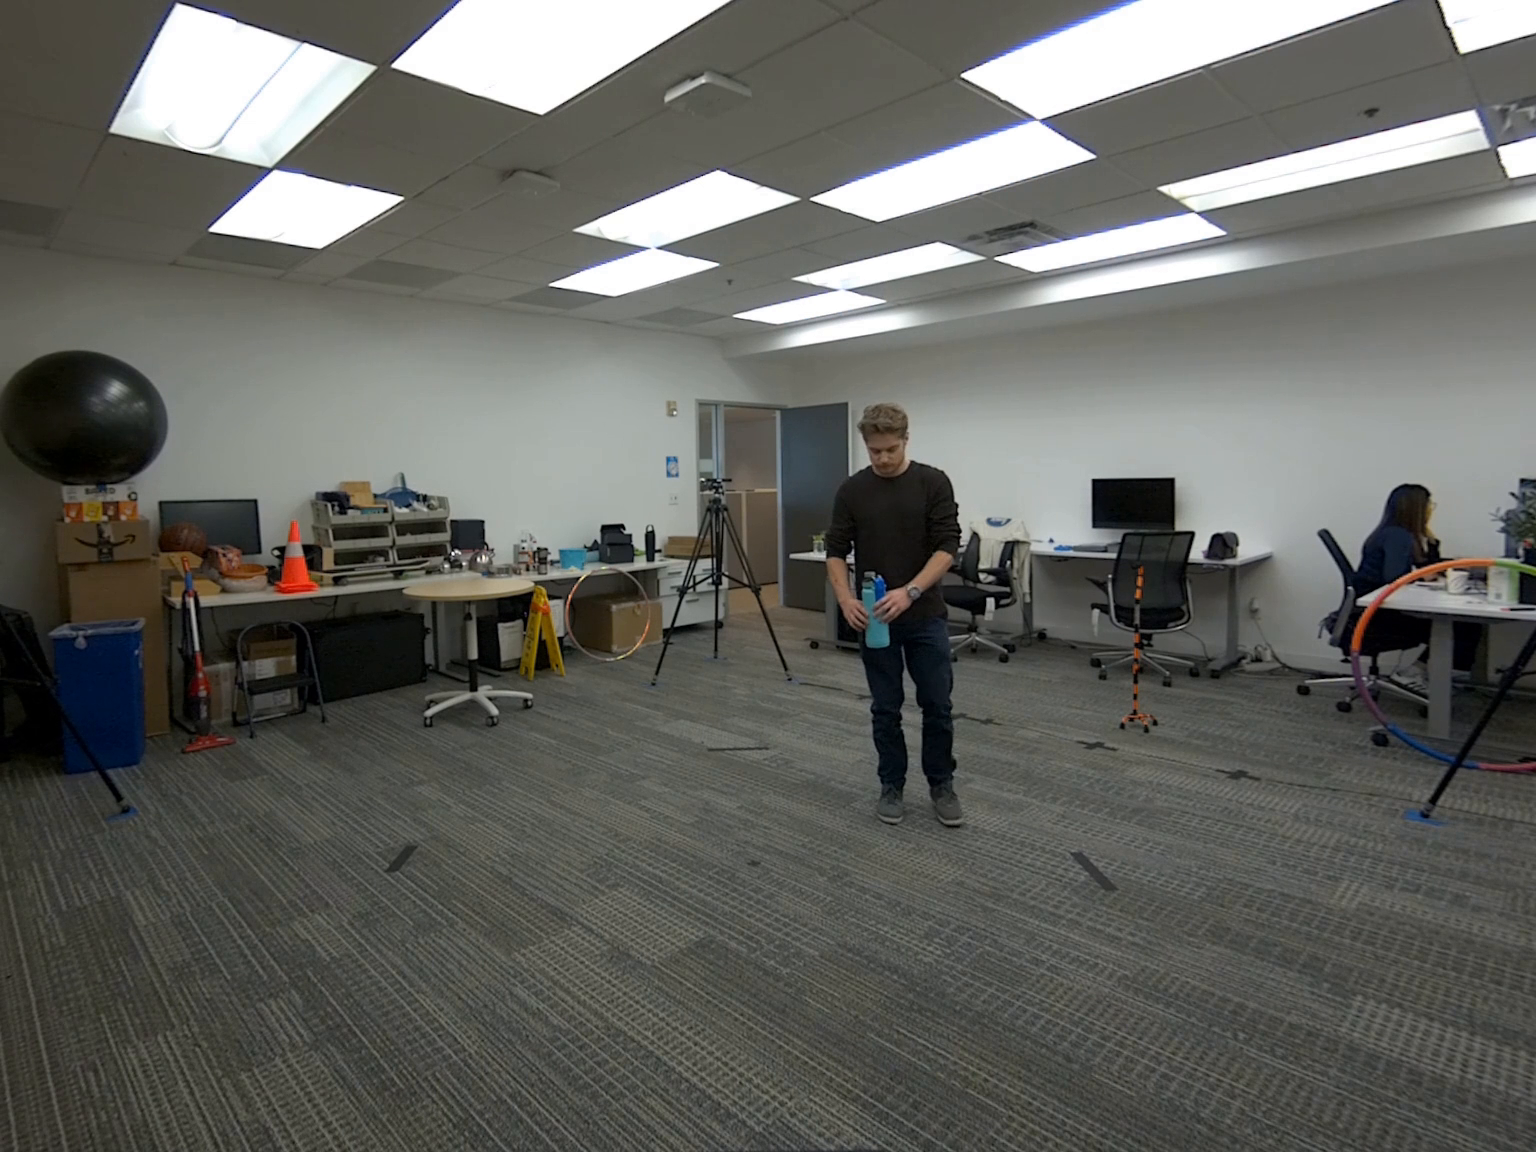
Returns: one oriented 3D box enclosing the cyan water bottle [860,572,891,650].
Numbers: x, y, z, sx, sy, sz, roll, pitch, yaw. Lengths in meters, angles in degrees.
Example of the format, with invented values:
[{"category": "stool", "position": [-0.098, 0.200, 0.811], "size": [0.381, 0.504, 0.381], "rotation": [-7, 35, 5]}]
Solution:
[{"category": "cyan water bottle", "position": [0.404, 0.128, 3.296], "size": [0.092, 0.281, 0.093], "rotation": [-5, 8, -1]}]
